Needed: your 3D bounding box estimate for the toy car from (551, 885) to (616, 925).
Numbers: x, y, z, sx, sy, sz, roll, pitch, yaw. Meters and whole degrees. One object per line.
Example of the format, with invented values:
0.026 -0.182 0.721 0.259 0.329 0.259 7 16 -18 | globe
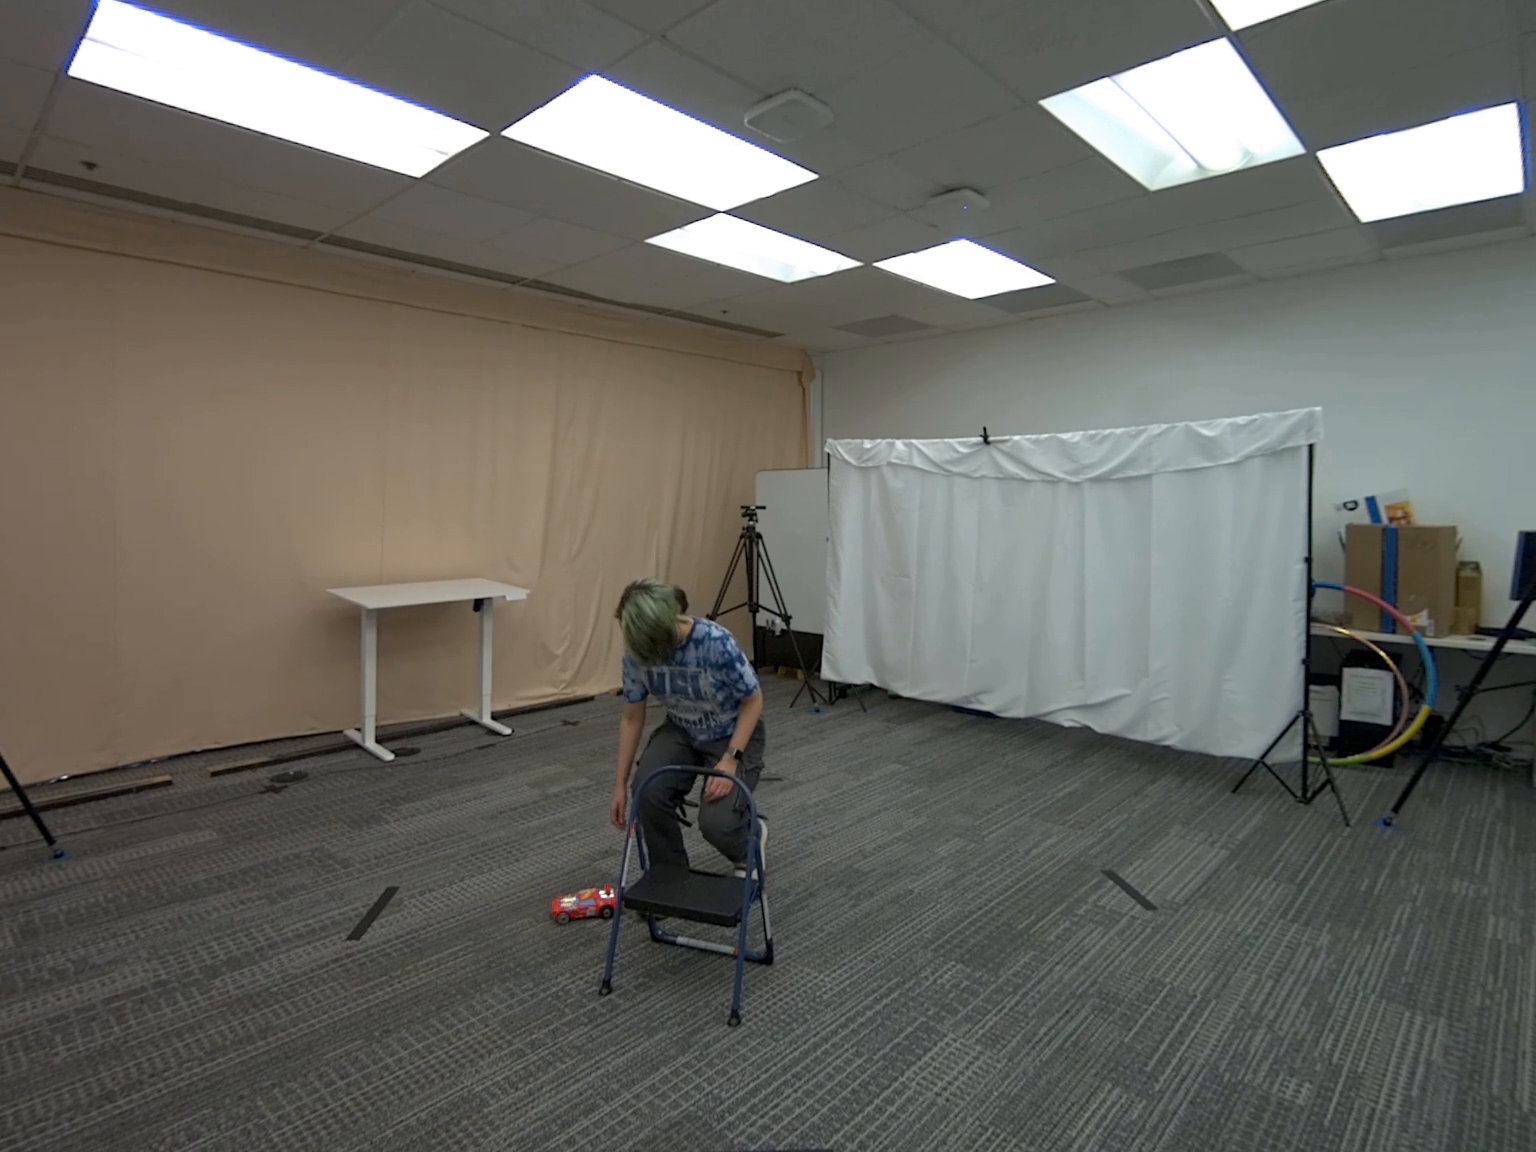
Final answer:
-0.610 1.129 2.885 0.251 0.083 0.132 -12 6 -13 | toy car
